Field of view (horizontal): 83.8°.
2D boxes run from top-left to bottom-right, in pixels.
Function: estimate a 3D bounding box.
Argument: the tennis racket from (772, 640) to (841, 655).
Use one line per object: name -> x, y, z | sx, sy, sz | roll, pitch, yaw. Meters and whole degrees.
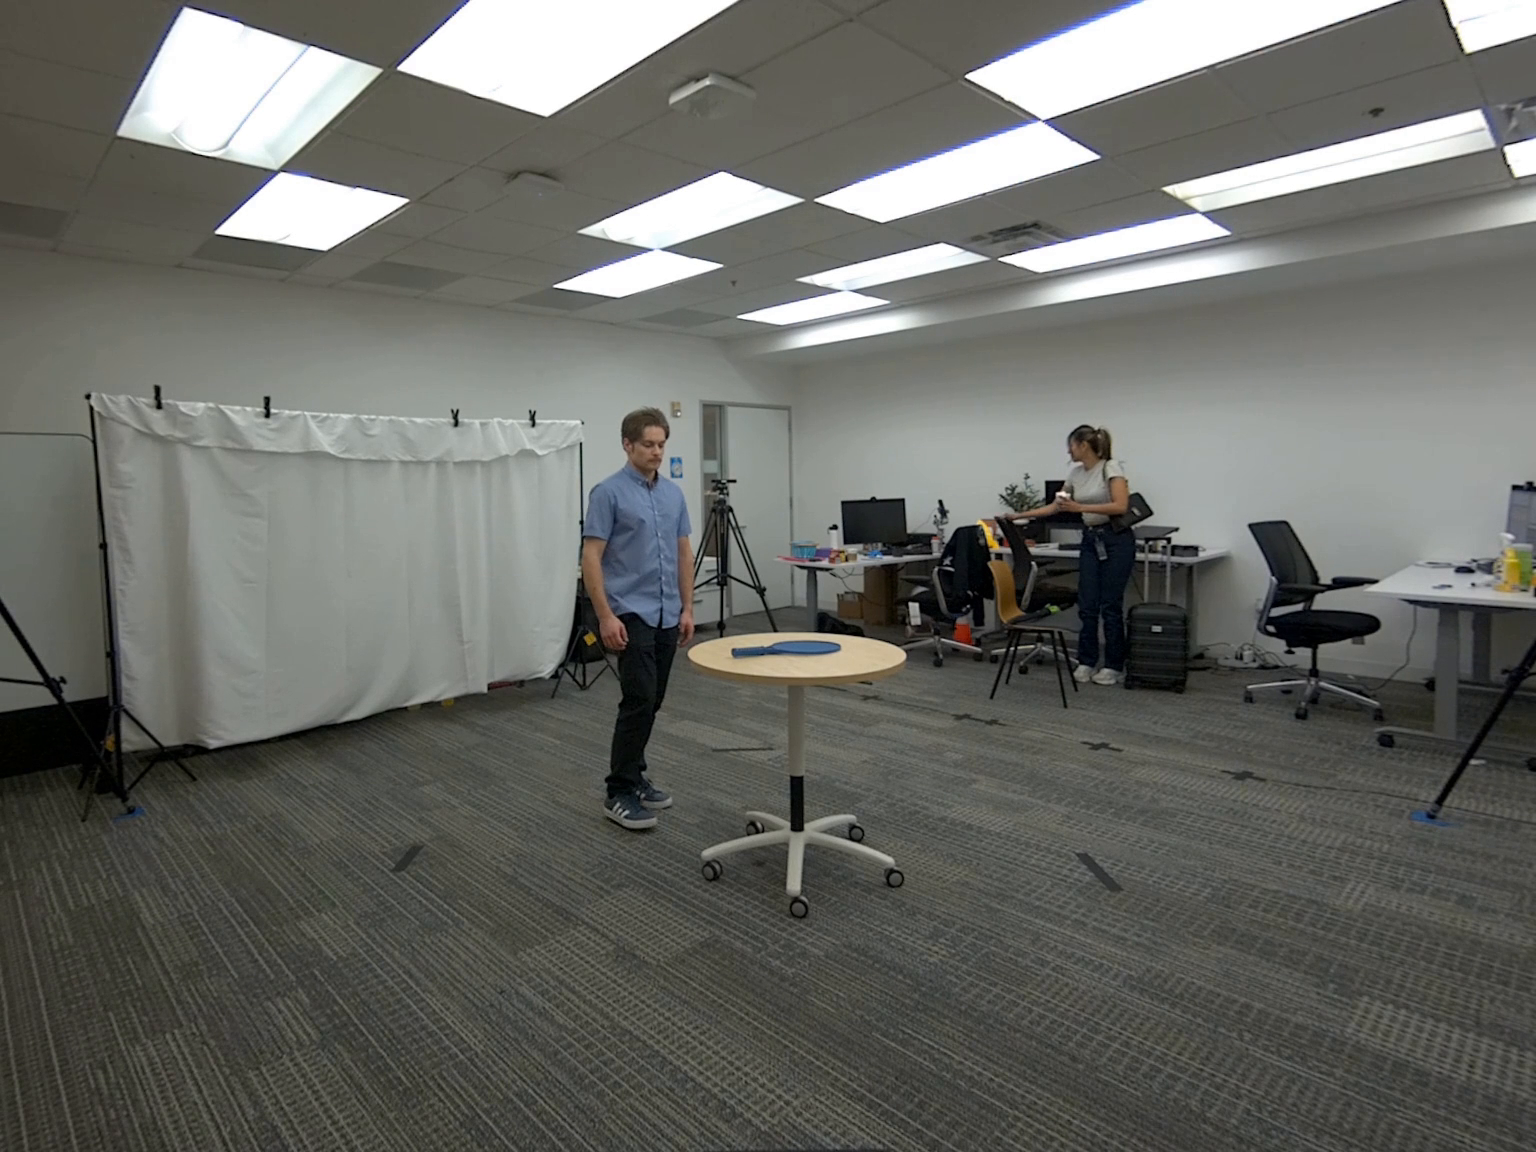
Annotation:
tennis racket -> 0.073, 0.262, 3.036 | 0.422, 0.031, 0.220 | -3, 7, -30
